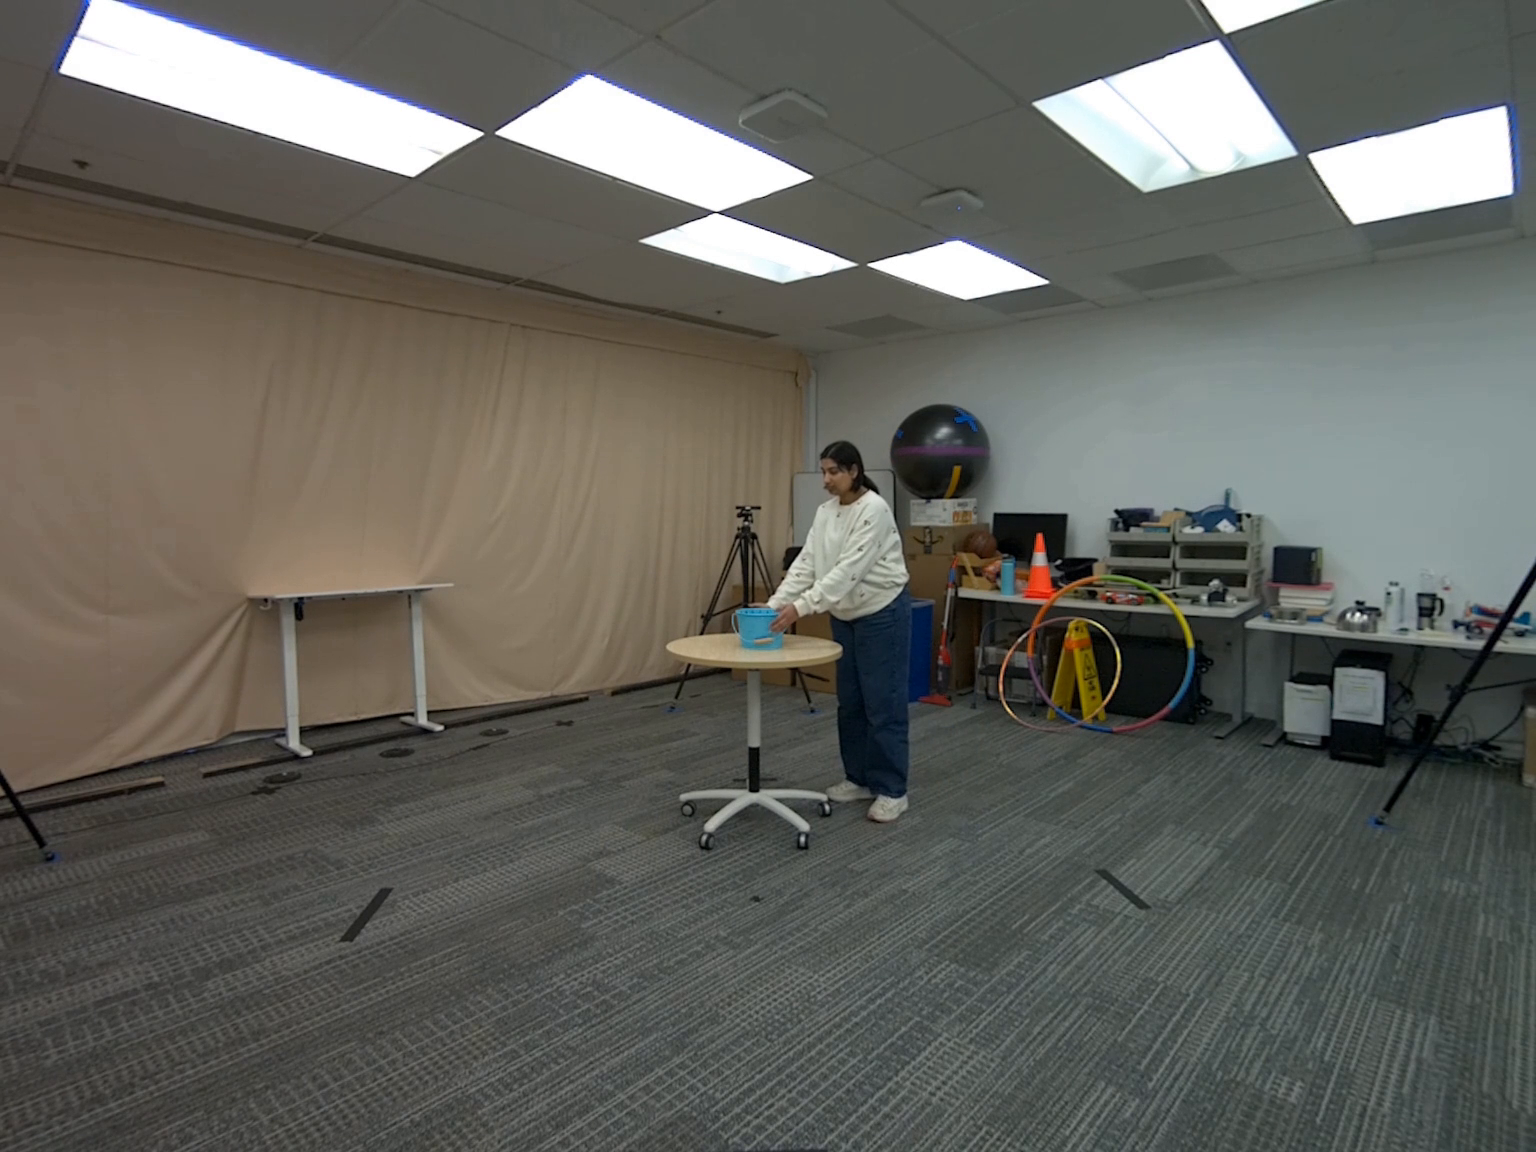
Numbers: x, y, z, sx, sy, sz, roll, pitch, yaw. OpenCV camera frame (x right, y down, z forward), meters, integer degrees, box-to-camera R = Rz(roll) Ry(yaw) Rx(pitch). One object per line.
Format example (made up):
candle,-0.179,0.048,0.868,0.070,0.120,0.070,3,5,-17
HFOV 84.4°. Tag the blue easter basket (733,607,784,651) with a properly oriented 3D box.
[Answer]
blue easter basket,-0.030,0.232,3.679,0.243,0.155,0.244,1,4,-2
